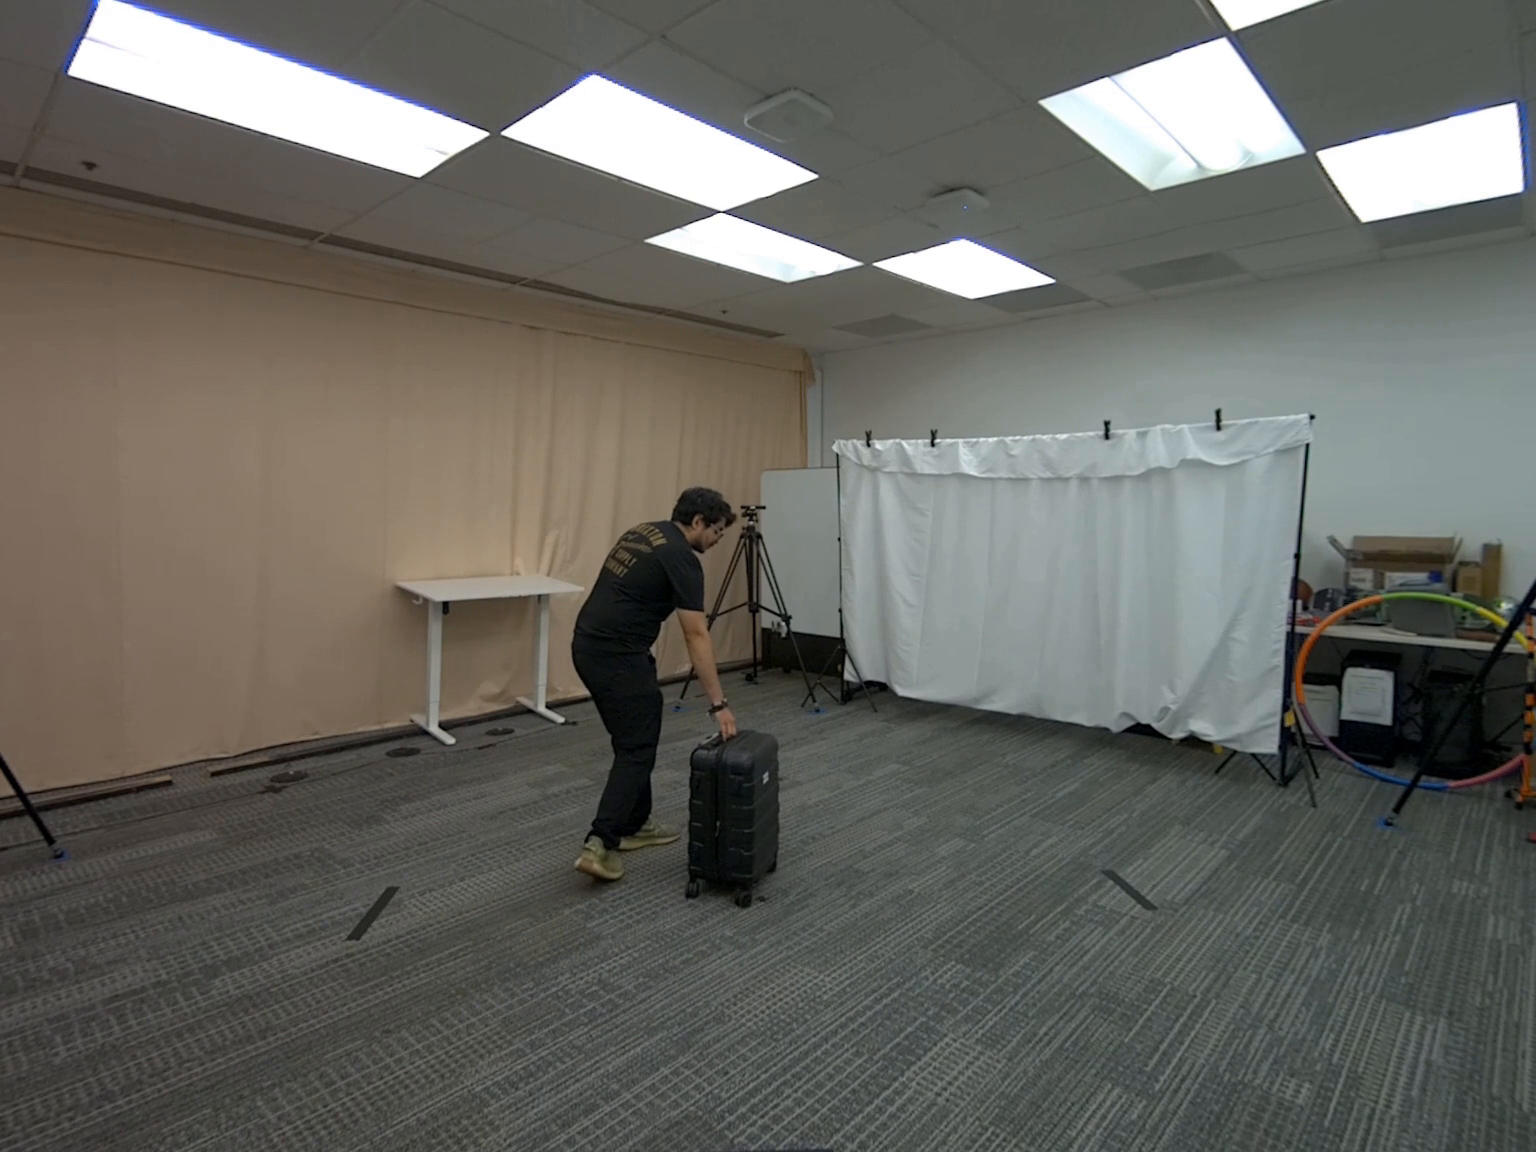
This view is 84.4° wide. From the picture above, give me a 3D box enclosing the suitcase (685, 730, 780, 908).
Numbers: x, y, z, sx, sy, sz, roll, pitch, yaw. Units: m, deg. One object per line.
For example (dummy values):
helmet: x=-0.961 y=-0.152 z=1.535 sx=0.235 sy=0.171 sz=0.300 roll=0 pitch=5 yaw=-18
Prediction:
suitcase: x=-0.124 y=0.862 z=3.101 sx=0.253 sy=0.548 sz=0.368 roll=2 pitch=3 yaw=18
